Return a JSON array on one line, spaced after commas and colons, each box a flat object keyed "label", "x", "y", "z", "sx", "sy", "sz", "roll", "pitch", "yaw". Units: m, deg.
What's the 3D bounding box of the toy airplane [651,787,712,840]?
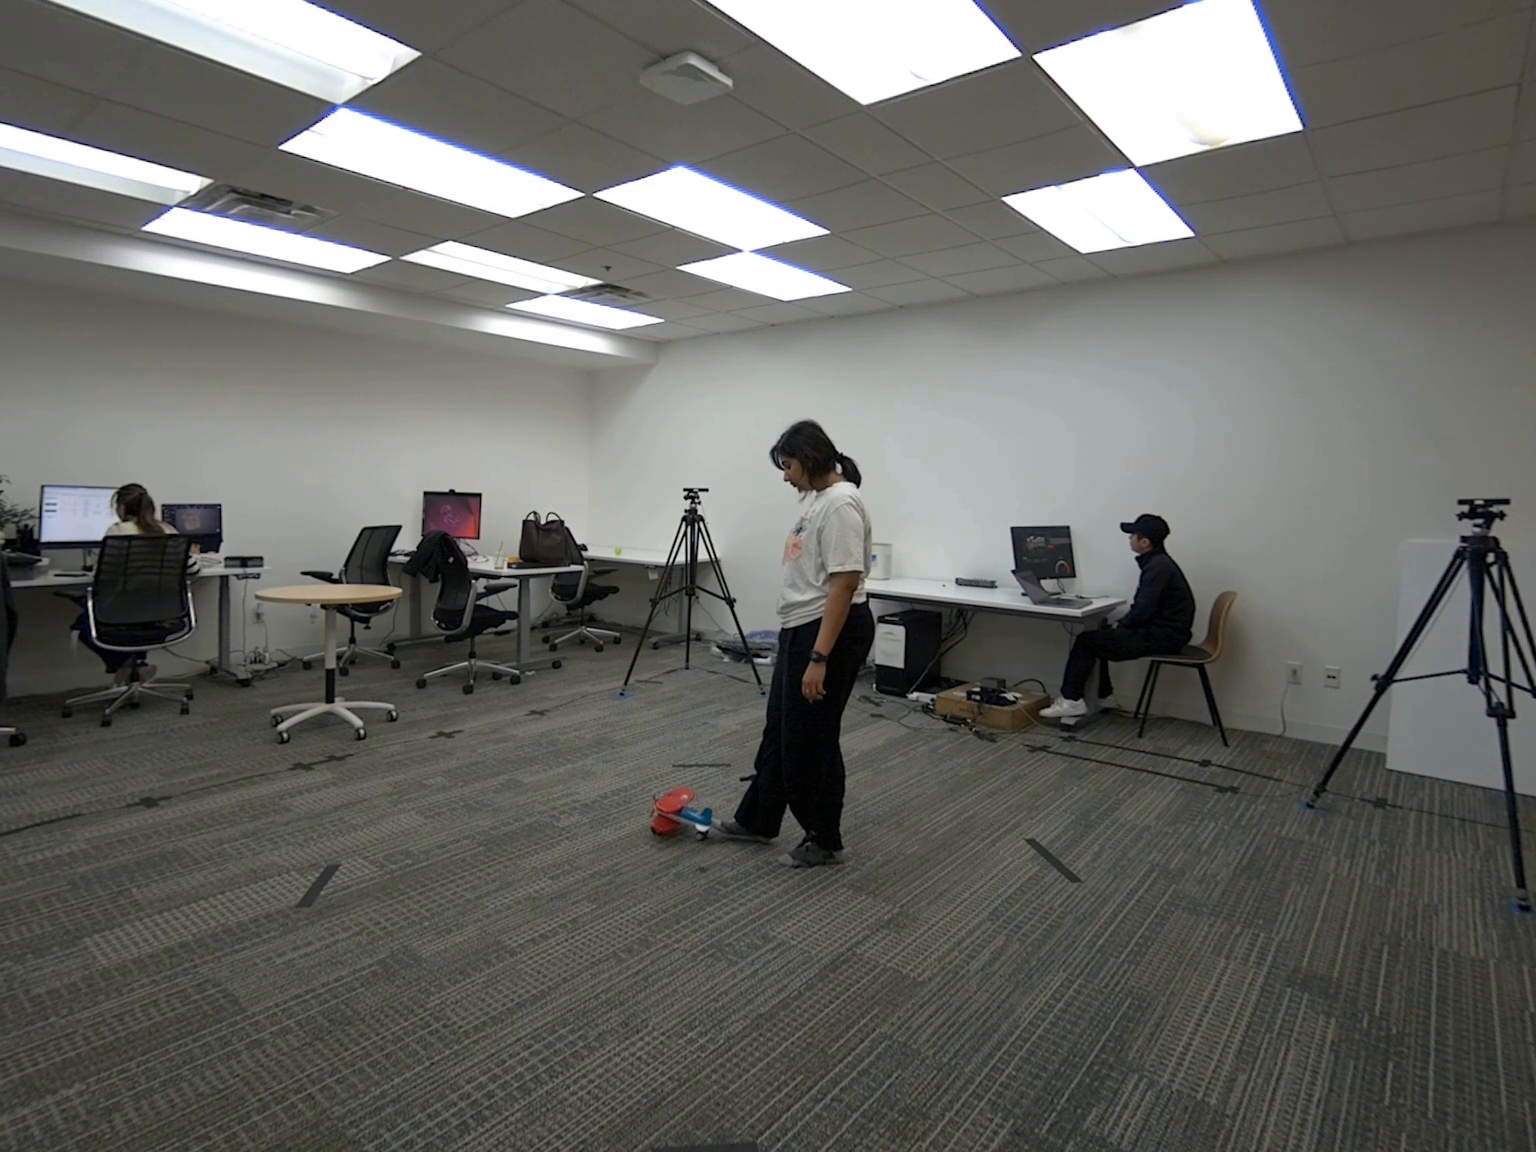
[{"label": "toy airplane", "x": -0.353, "y": 0.958, "z": 3.440, "sx": 0.258, "sy": 0.156, "sz": 0.253, "roll": 0, "pitch": 4, "yaw": -6}]
